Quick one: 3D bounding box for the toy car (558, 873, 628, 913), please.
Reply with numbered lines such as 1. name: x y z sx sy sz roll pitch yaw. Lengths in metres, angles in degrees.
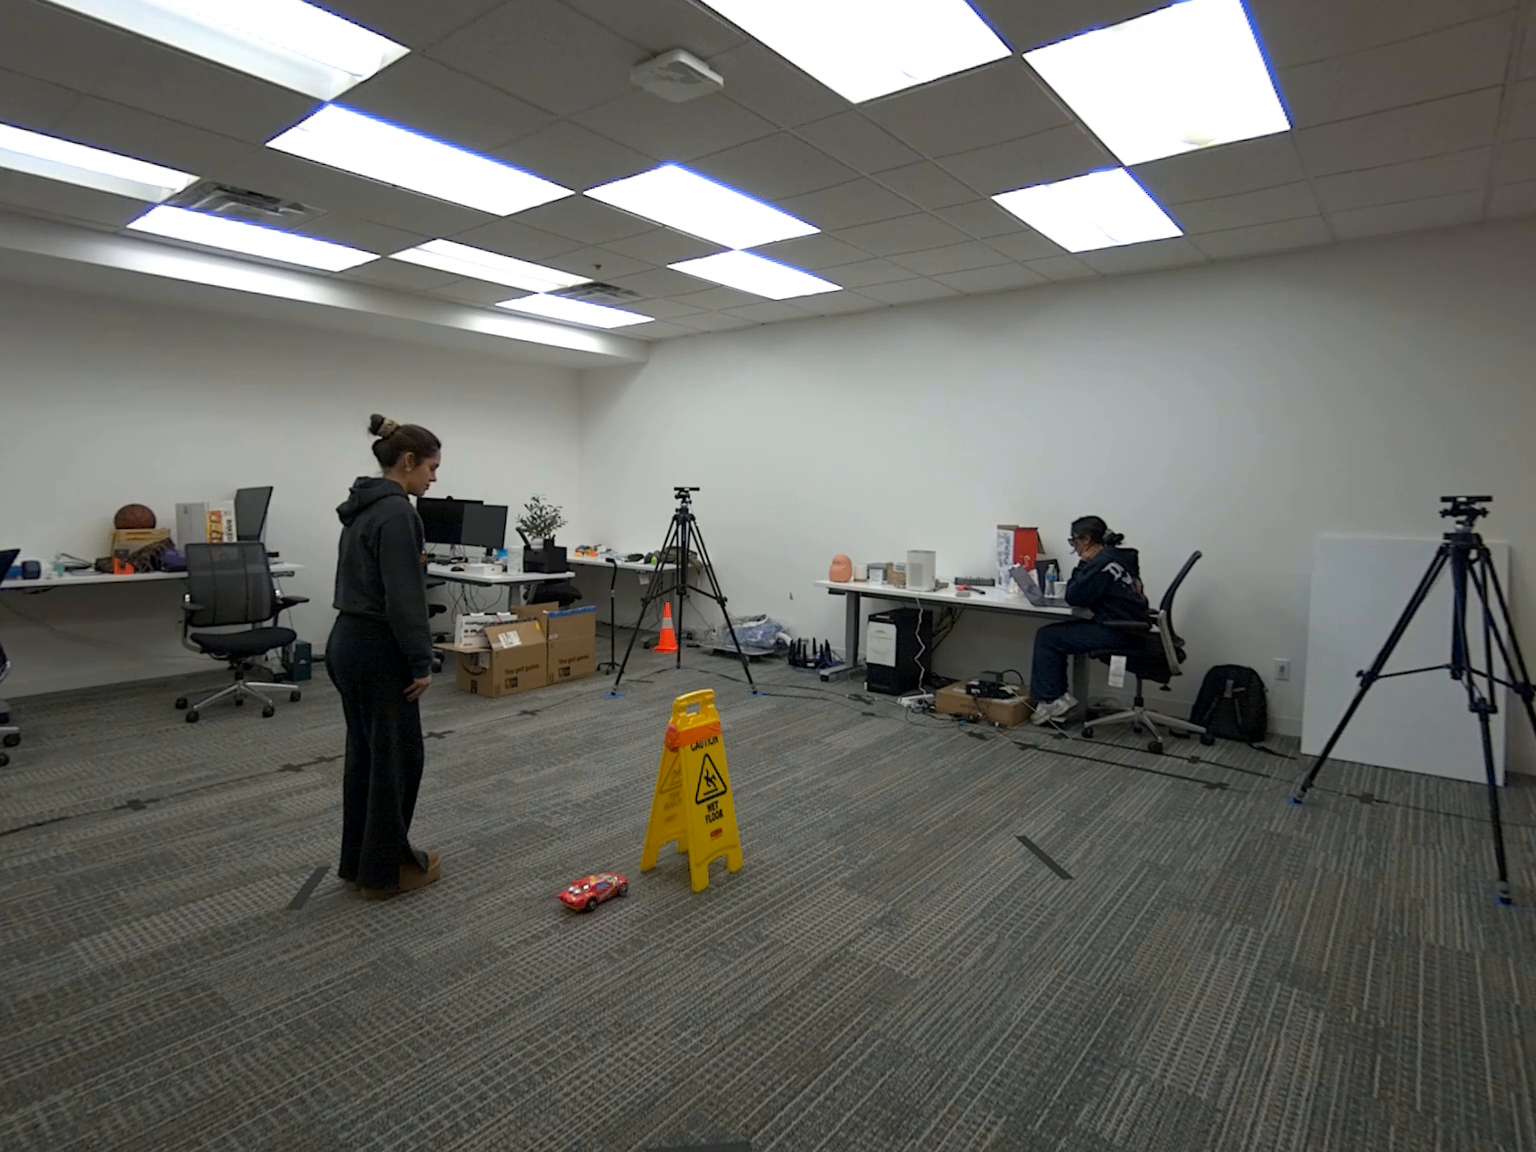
1. toy car: -0.588 1.057 2.842 0.135 0.083 0.245 5 -5 41
